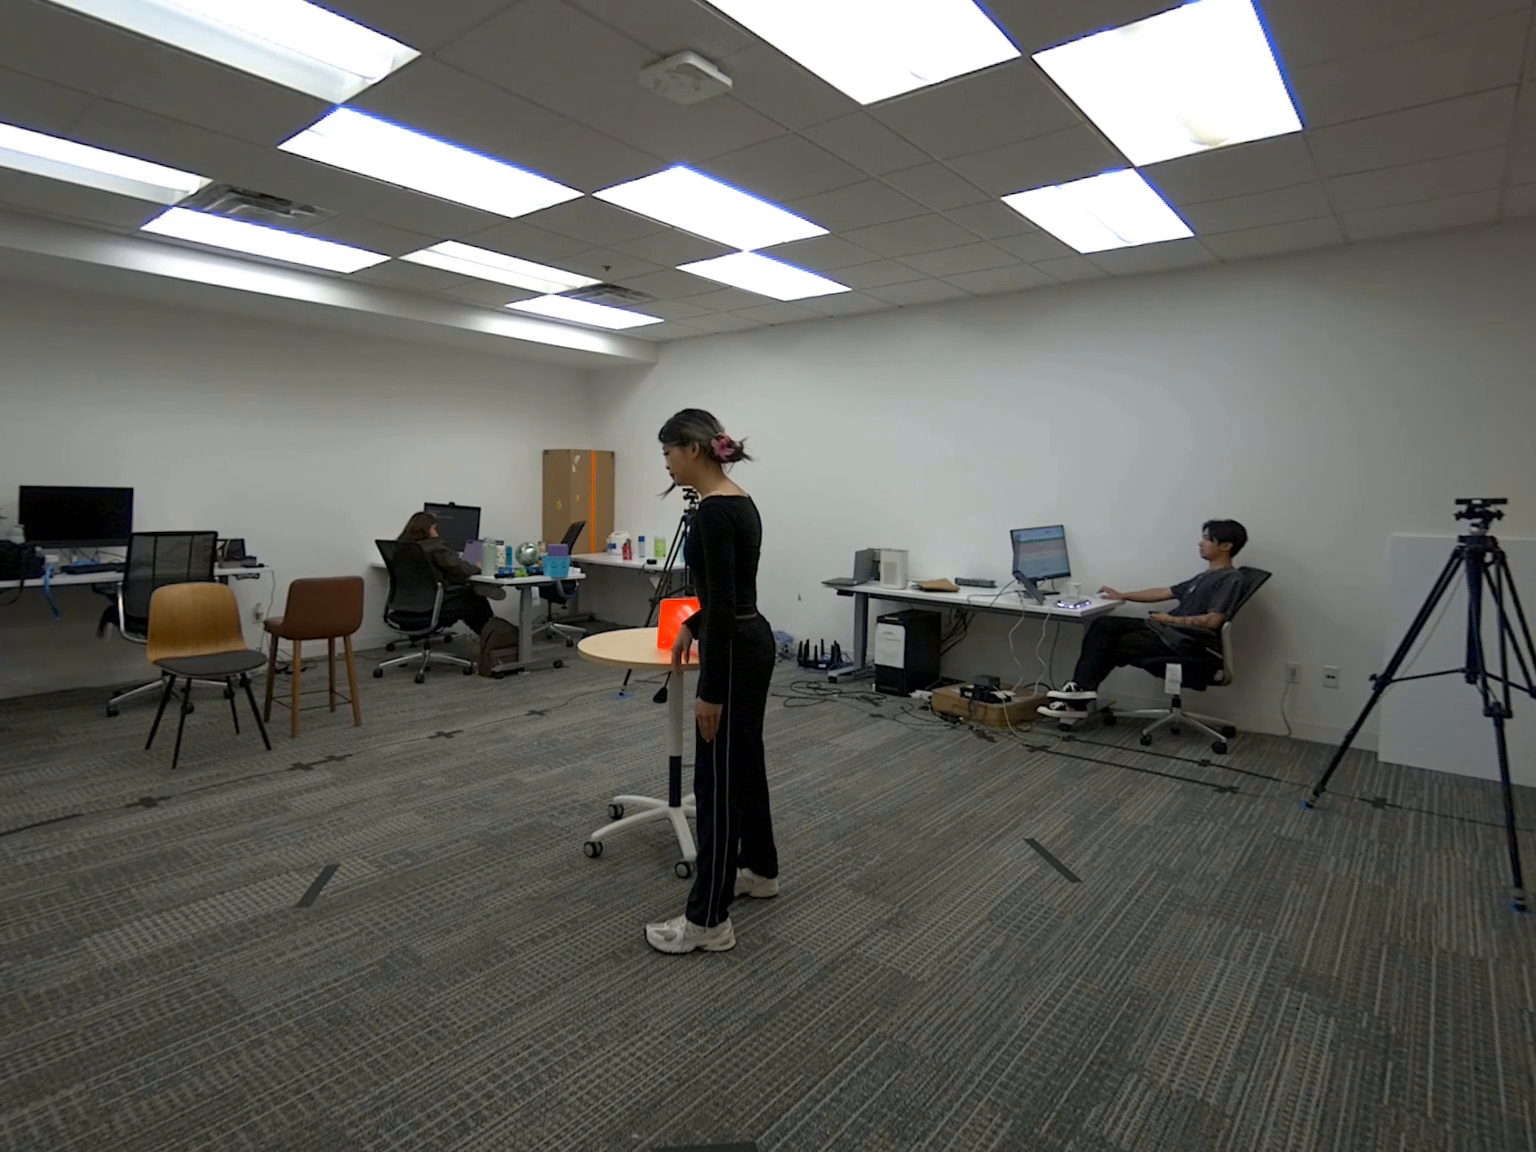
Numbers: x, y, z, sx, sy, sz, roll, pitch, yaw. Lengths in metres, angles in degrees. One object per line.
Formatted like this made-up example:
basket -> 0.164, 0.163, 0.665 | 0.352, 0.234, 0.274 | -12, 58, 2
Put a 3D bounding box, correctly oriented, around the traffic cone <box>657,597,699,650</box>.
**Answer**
traffic cone -> -0.246, 0.237, 3.066 | 0.200, 0.200, 0.398 | -4, 19, -25
